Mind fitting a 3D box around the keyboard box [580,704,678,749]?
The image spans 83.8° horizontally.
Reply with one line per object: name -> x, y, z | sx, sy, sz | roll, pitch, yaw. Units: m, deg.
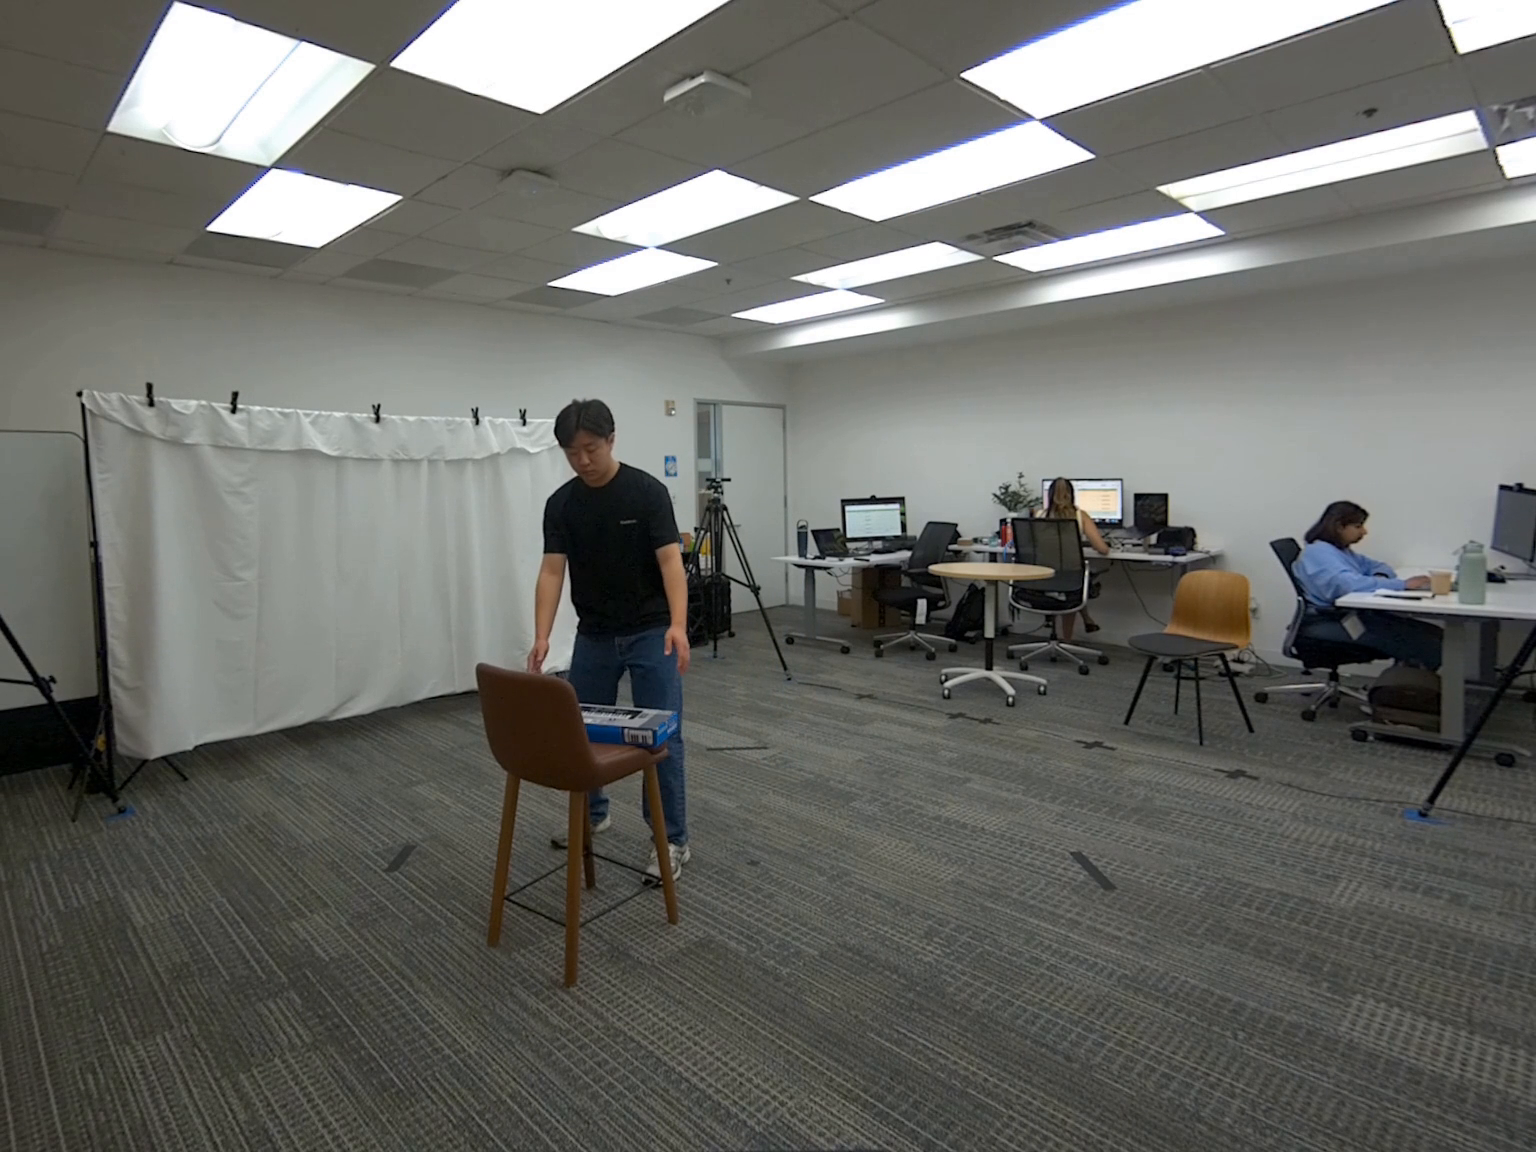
keyboard box -> -0.514, 0.459, 2.664 | 0.445, 0.059, 0.174 | 1, 9, 19
